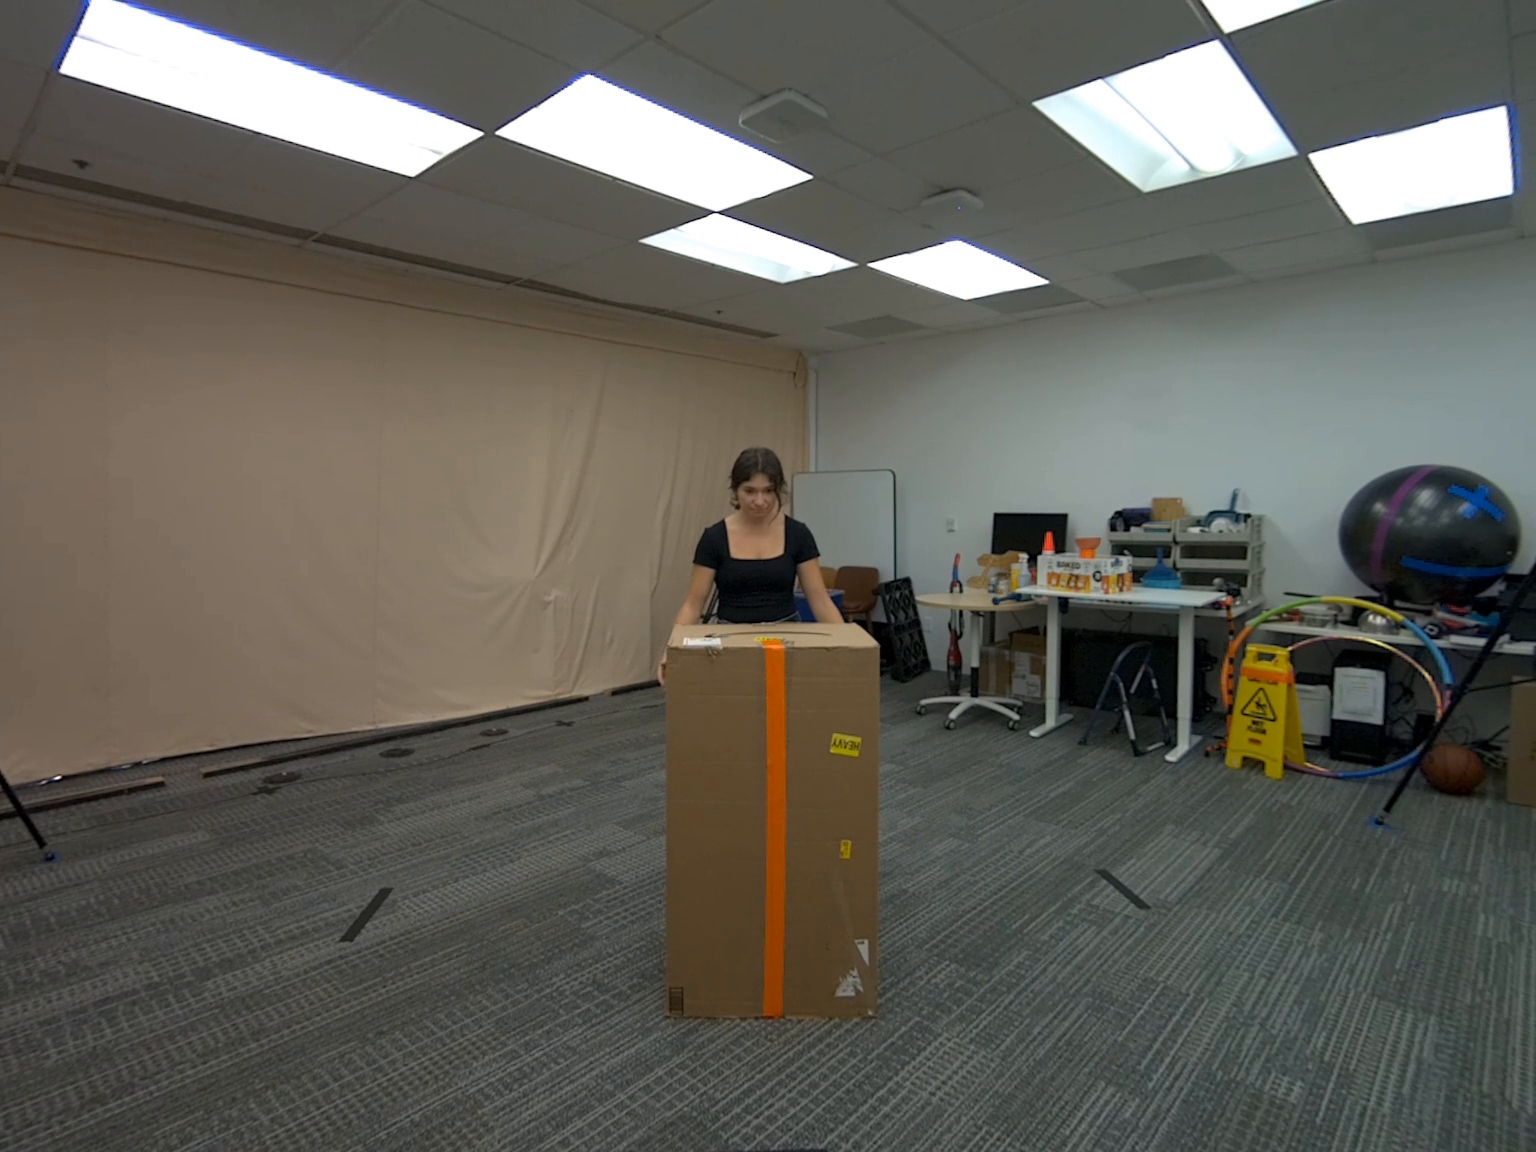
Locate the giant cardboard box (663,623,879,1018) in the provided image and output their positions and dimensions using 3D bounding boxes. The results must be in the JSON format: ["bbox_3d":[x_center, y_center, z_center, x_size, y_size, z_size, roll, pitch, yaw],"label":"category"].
[{"bbox_3d":[0.004,0.684,2.469,0.577,1.023,0.427,0,3,-1],"label":"giant cardboard box"}]
